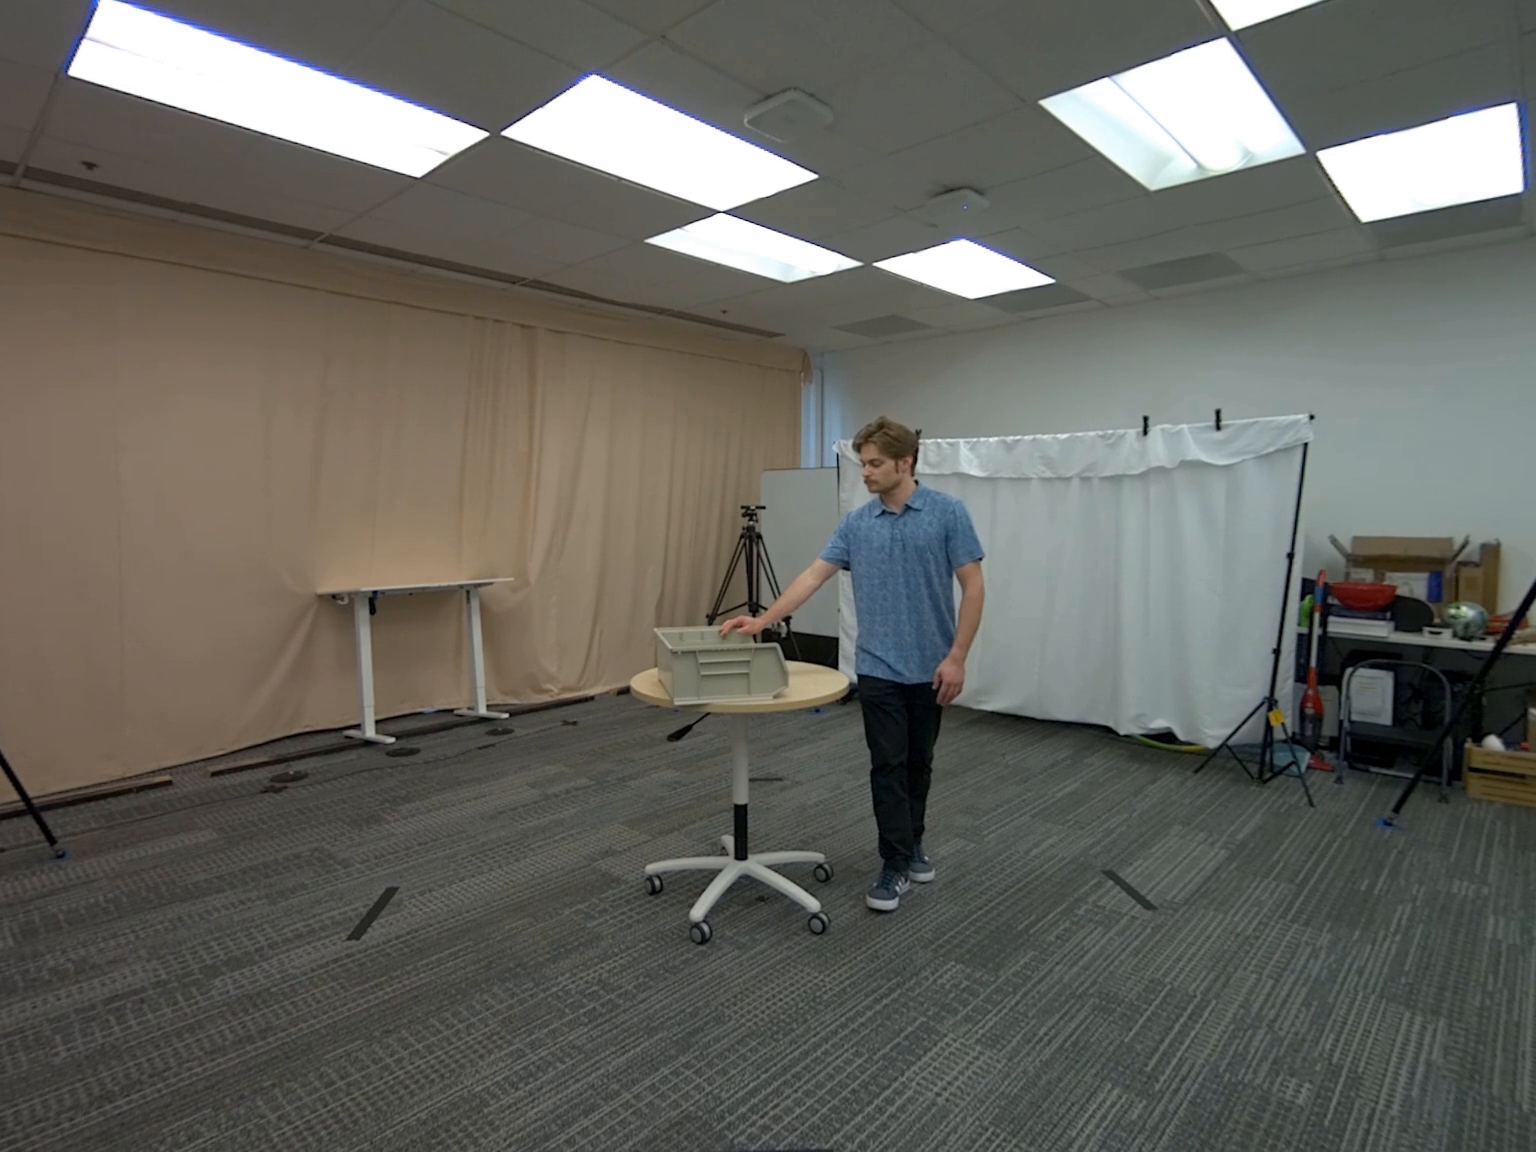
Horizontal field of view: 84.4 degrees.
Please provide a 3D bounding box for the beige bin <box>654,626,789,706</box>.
[{"bbox_3d":[-0.162,0.283,2.805,0.372,0.188,0.429,-4,5,-14],"label":"beige bin"}]
